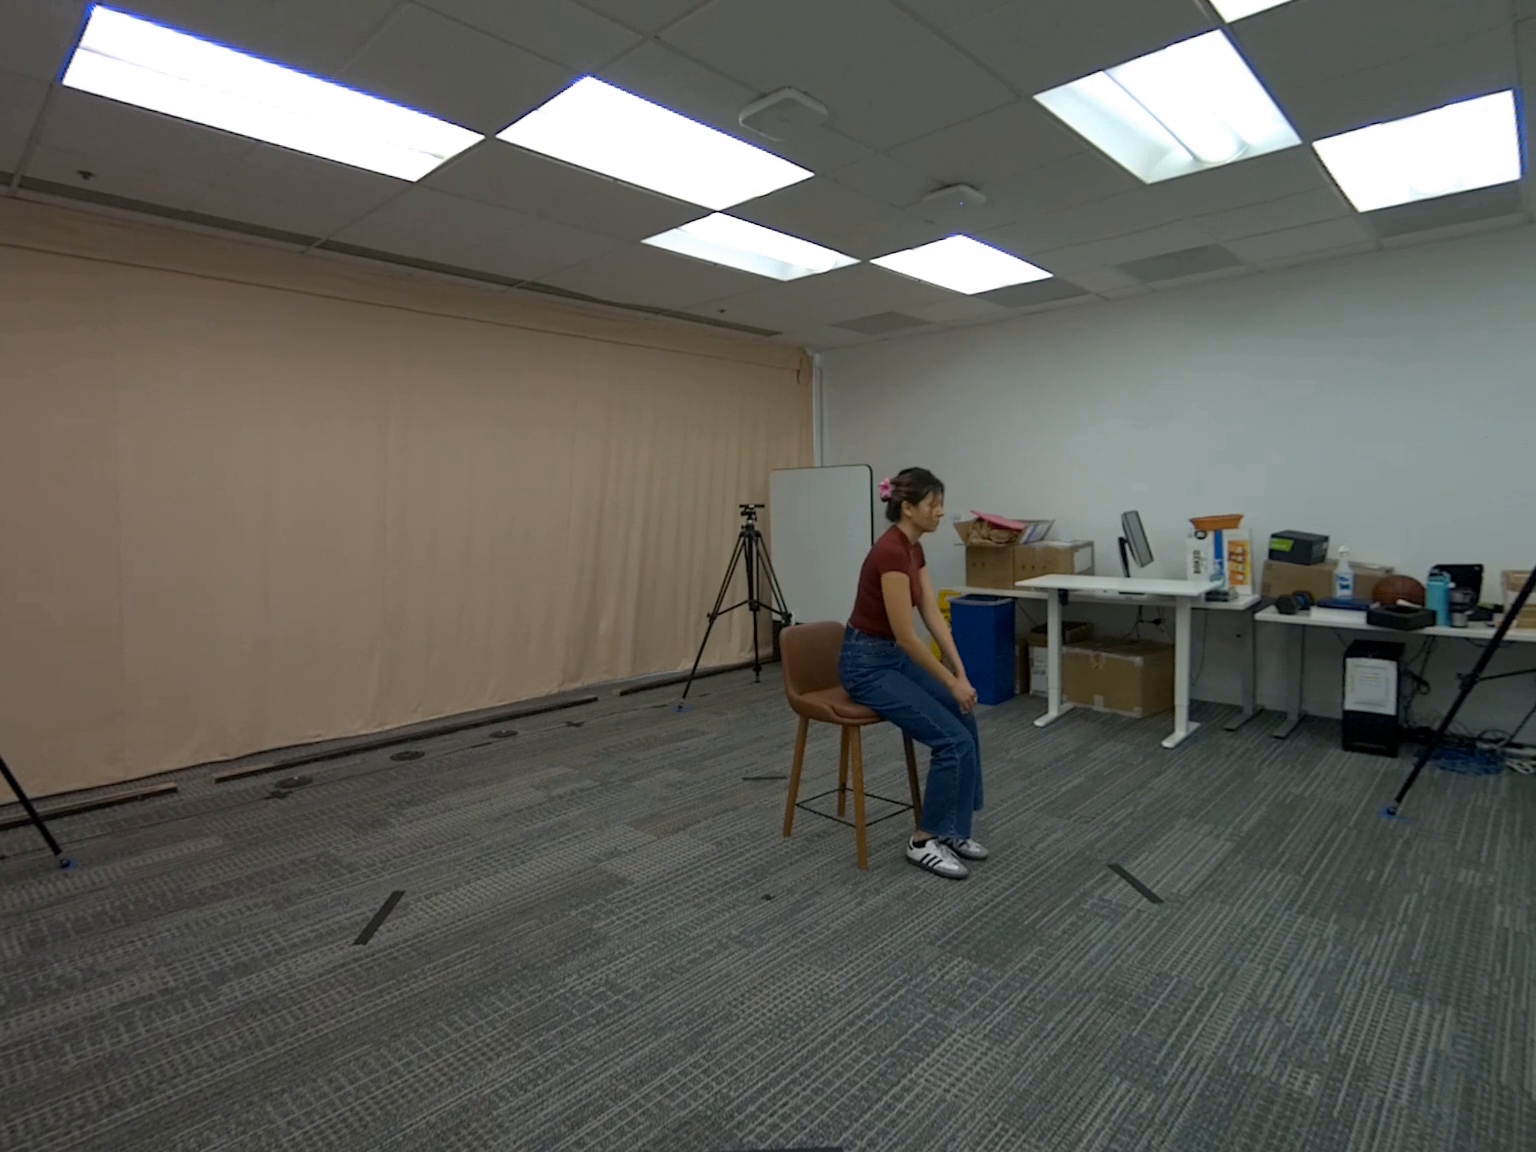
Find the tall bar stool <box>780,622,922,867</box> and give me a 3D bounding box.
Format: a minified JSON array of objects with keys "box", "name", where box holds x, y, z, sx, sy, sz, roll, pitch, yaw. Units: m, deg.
[{"box":[0.342,0.660,3.478,0.442,0.889,0.483,-3,3,-42],"name":"tall bar stool"}]
